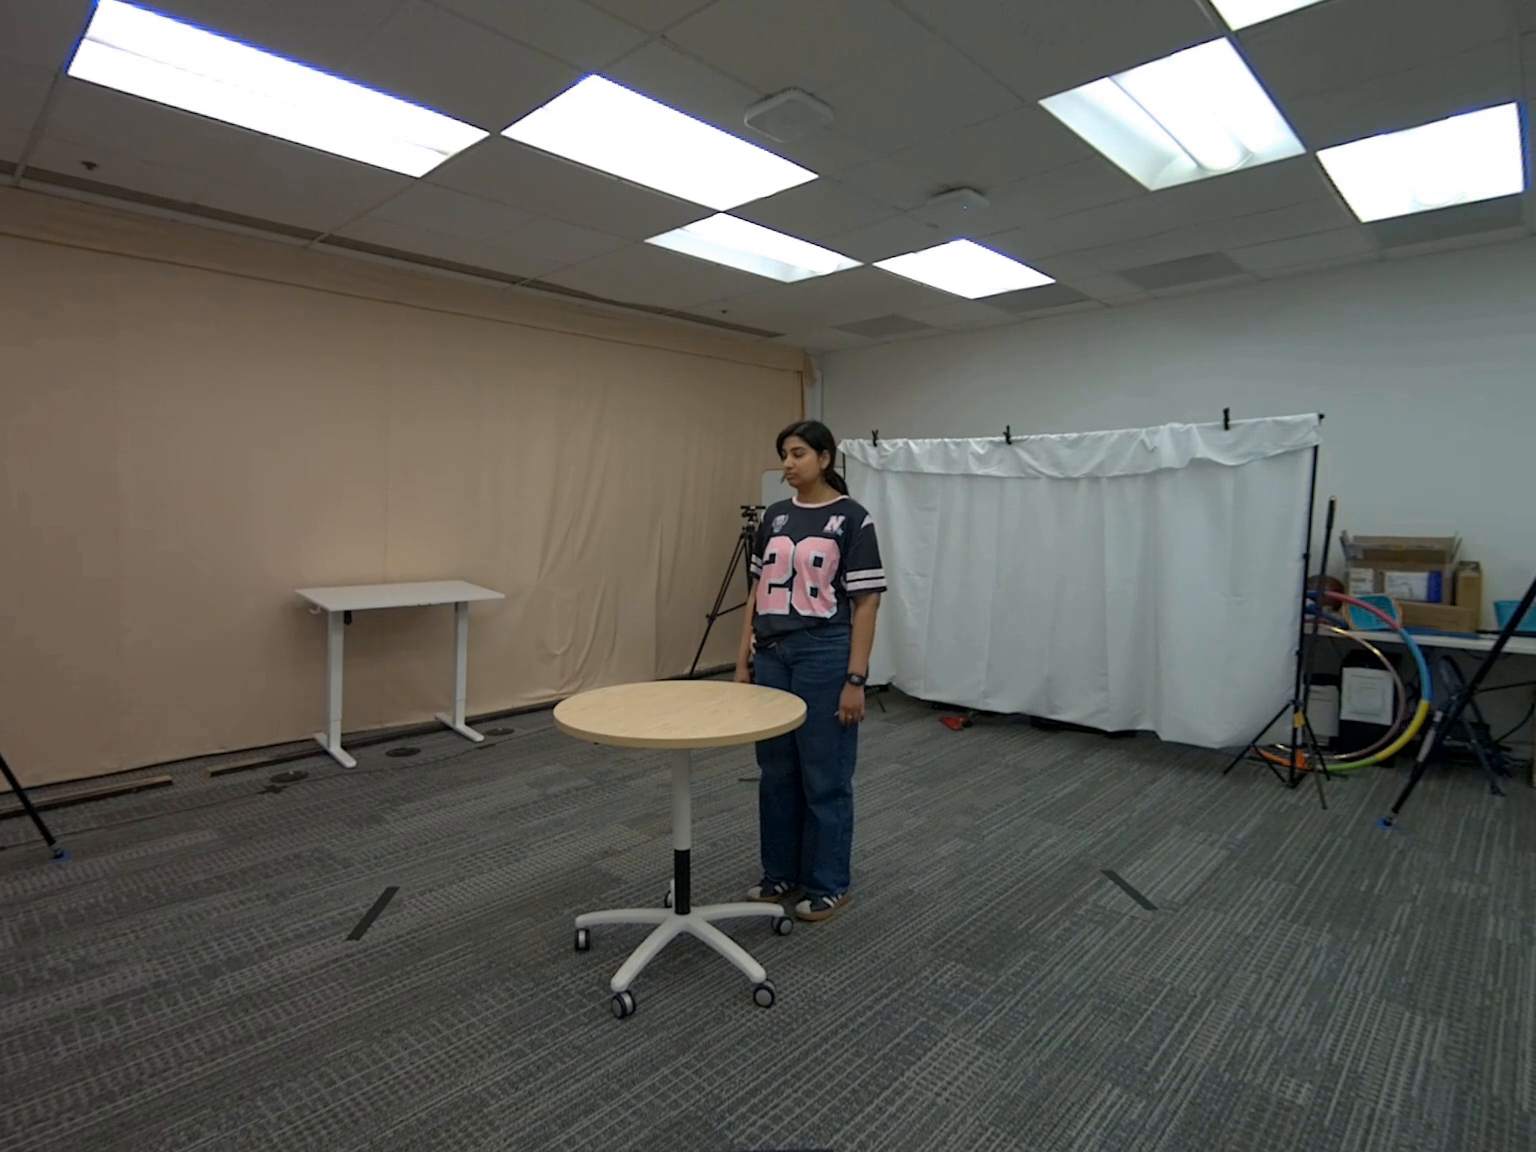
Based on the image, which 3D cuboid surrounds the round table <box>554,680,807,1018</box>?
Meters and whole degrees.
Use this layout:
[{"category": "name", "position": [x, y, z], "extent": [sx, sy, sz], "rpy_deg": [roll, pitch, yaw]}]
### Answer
[{"category": "round table", "position": [-0.250, 0.786, 2.583], "extent": [0.784, 0.785, 0.788], "rpy_deg": [-1, 4, -2]}]
